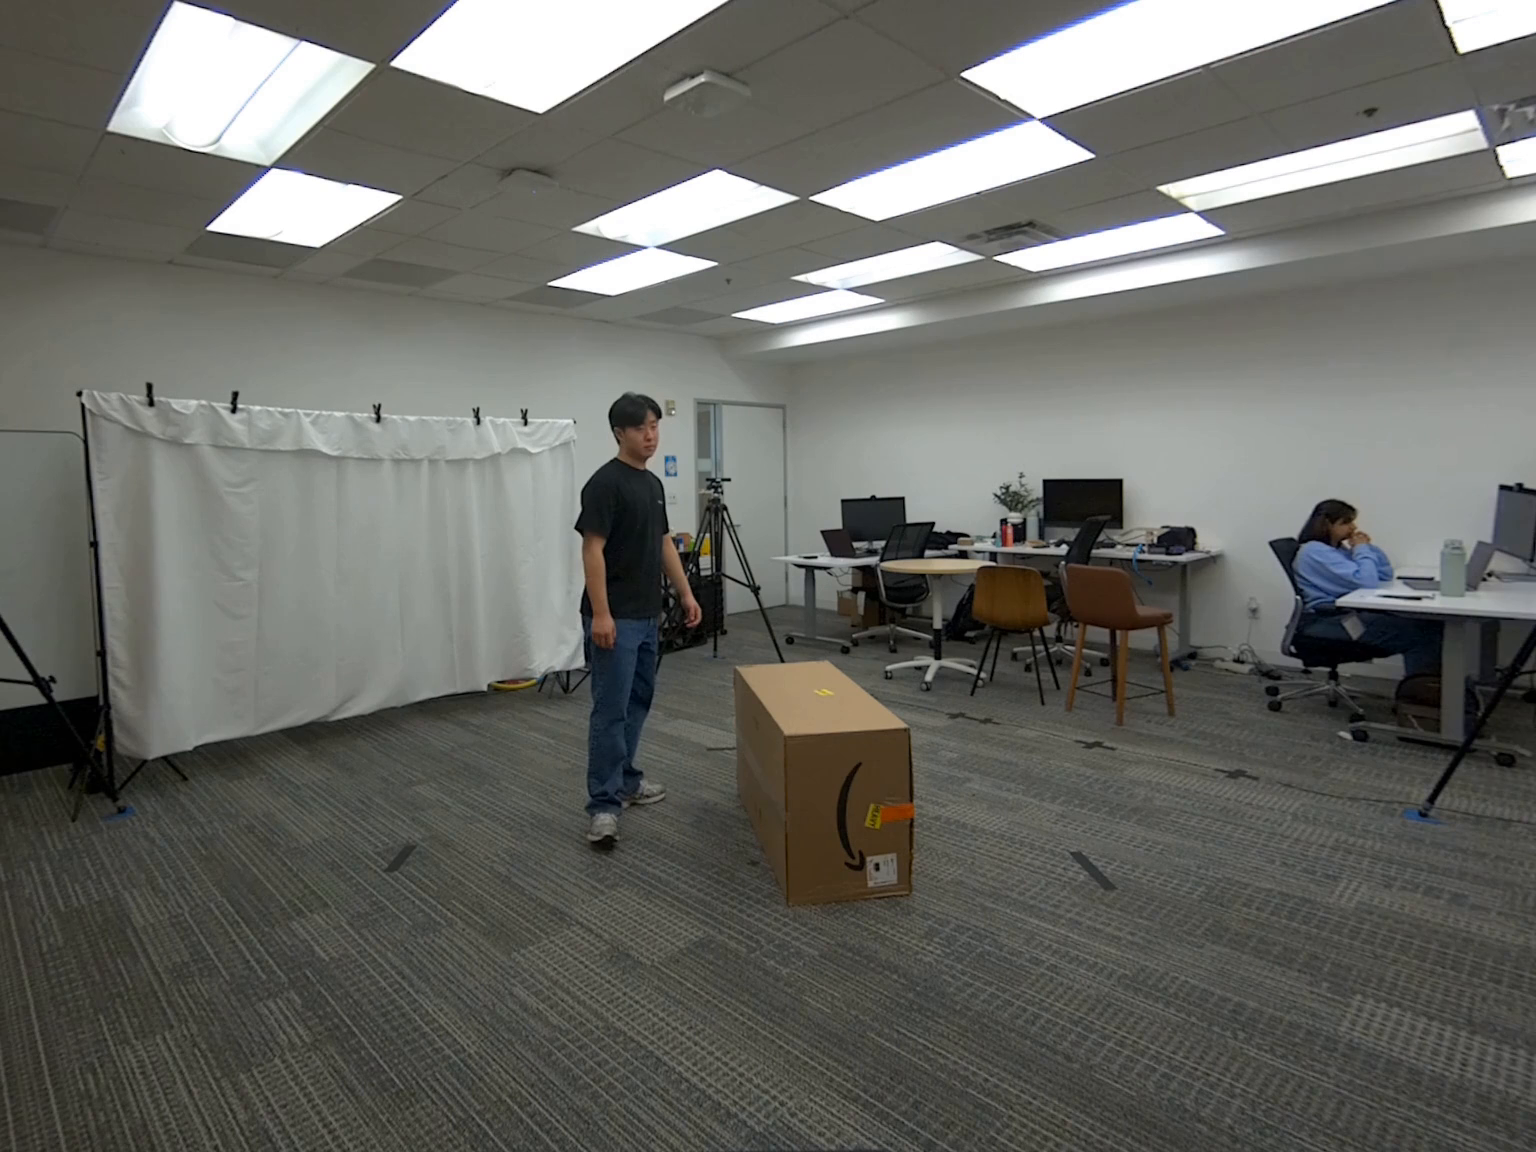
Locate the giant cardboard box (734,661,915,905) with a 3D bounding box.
[{"bbox_3d":[0.172,0.729,3.291,0.442,0.581,1.042,-1,6,-11],"label":"giant cardboard box"}]
